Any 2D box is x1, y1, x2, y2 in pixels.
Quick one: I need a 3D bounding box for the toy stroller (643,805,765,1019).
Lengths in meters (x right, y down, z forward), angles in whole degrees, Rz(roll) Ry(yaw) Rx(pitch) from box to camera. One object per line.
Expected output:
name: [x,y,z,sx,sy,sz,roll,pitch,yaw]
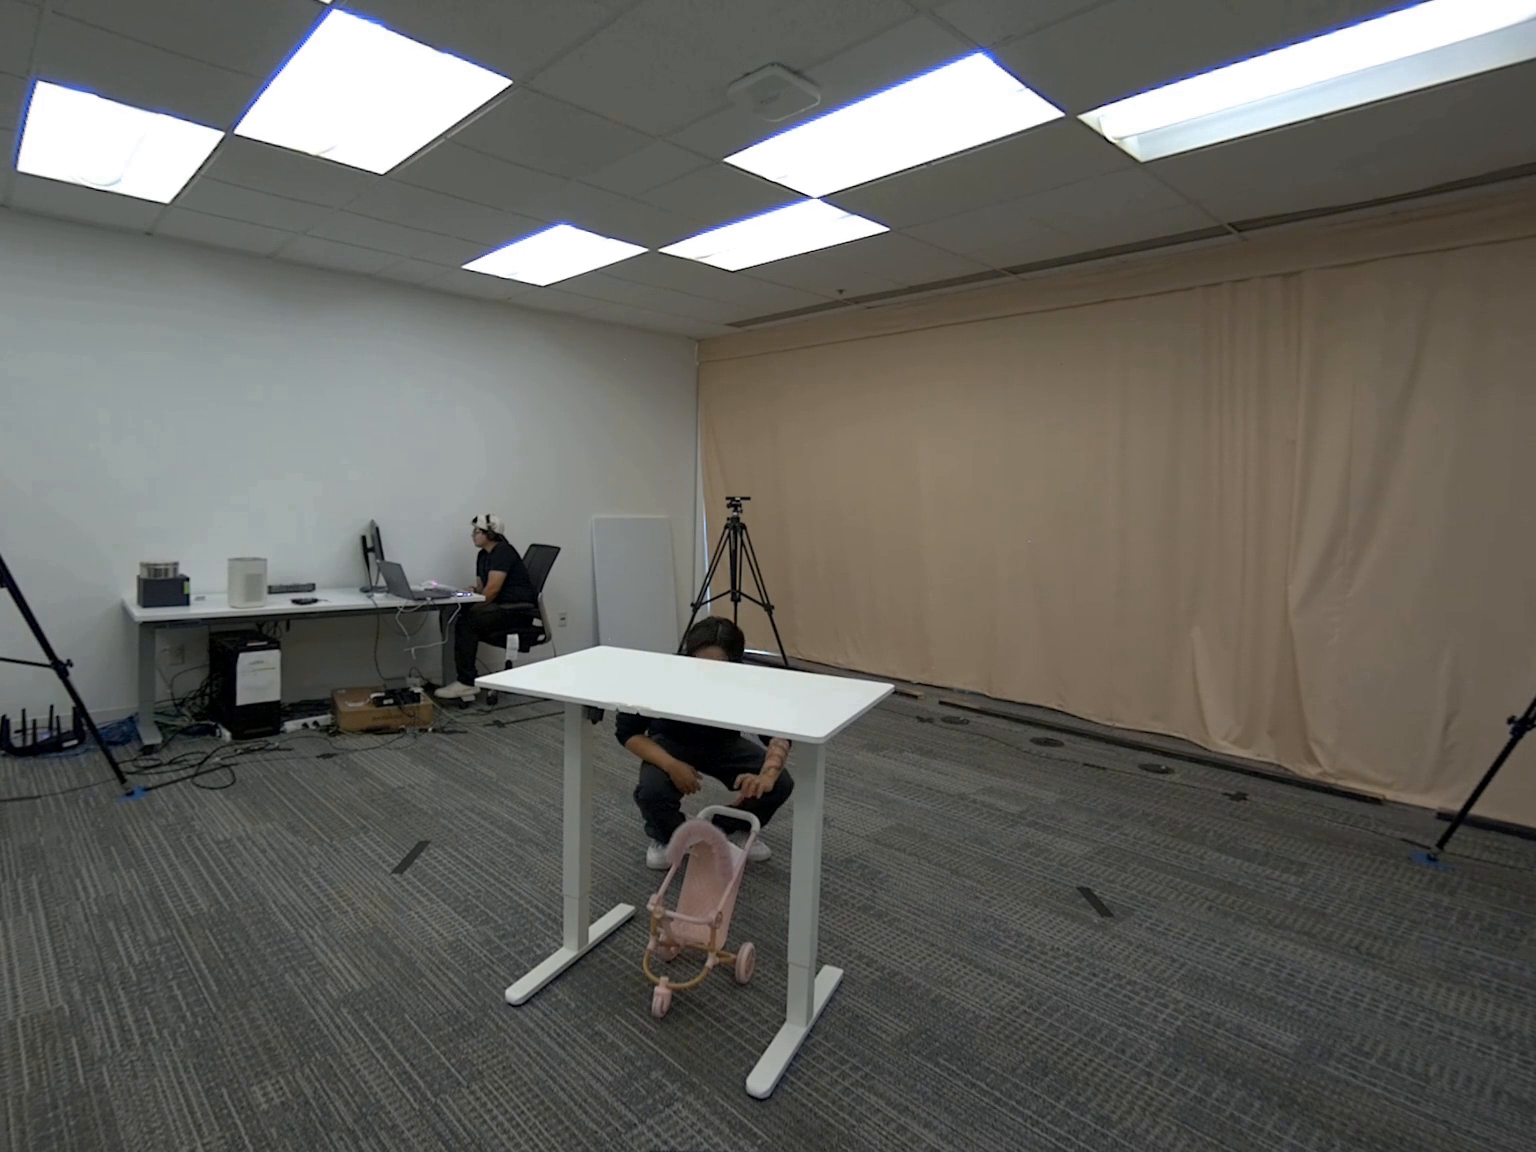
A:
toy stroller: [-0.211,0.949,2.411,0.287,0.538,0.332,3,-12,29]
